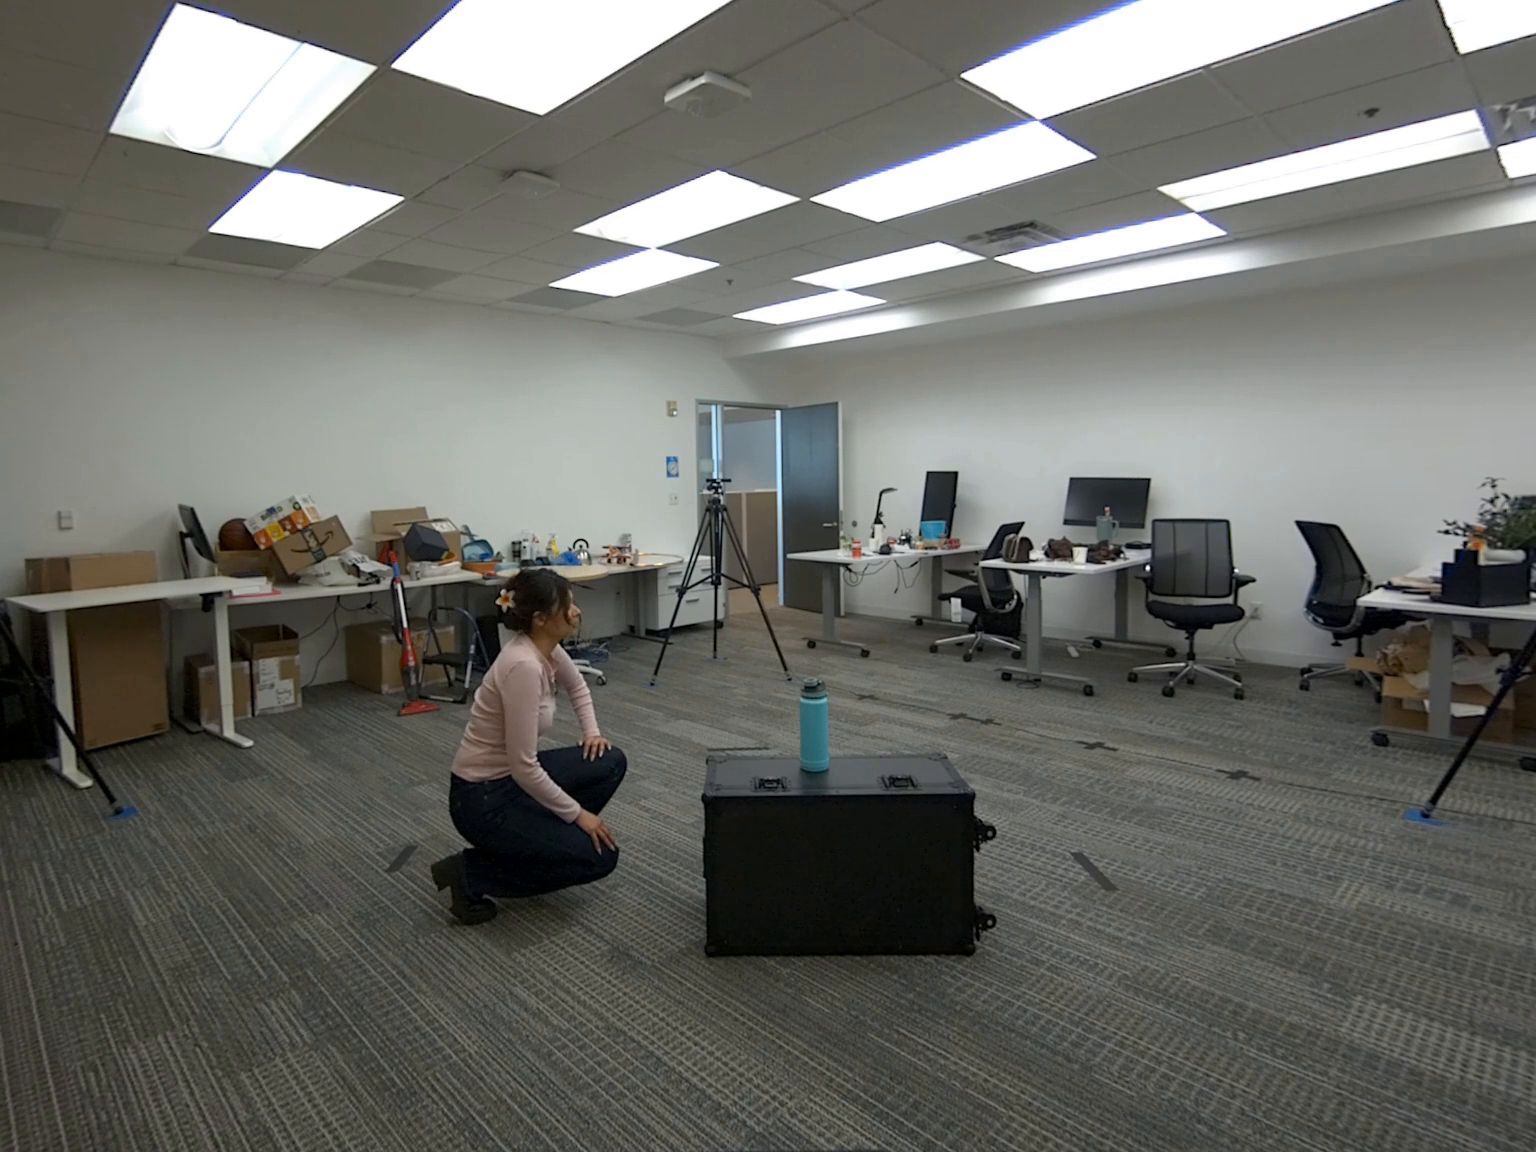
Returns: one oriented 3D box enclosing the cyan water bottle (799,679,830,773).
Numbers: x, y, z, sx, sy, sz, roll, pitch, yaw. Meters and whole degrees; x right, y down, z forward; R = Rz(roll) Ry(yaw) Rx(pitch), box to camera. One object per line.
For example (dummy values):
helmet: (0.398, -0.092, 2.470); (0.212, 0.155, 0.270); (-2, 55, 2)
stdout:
cyan water bottle: (0.143, 0.466, 2.689); (0.092, 0.282, 0.093); (-2, 4, -1)
